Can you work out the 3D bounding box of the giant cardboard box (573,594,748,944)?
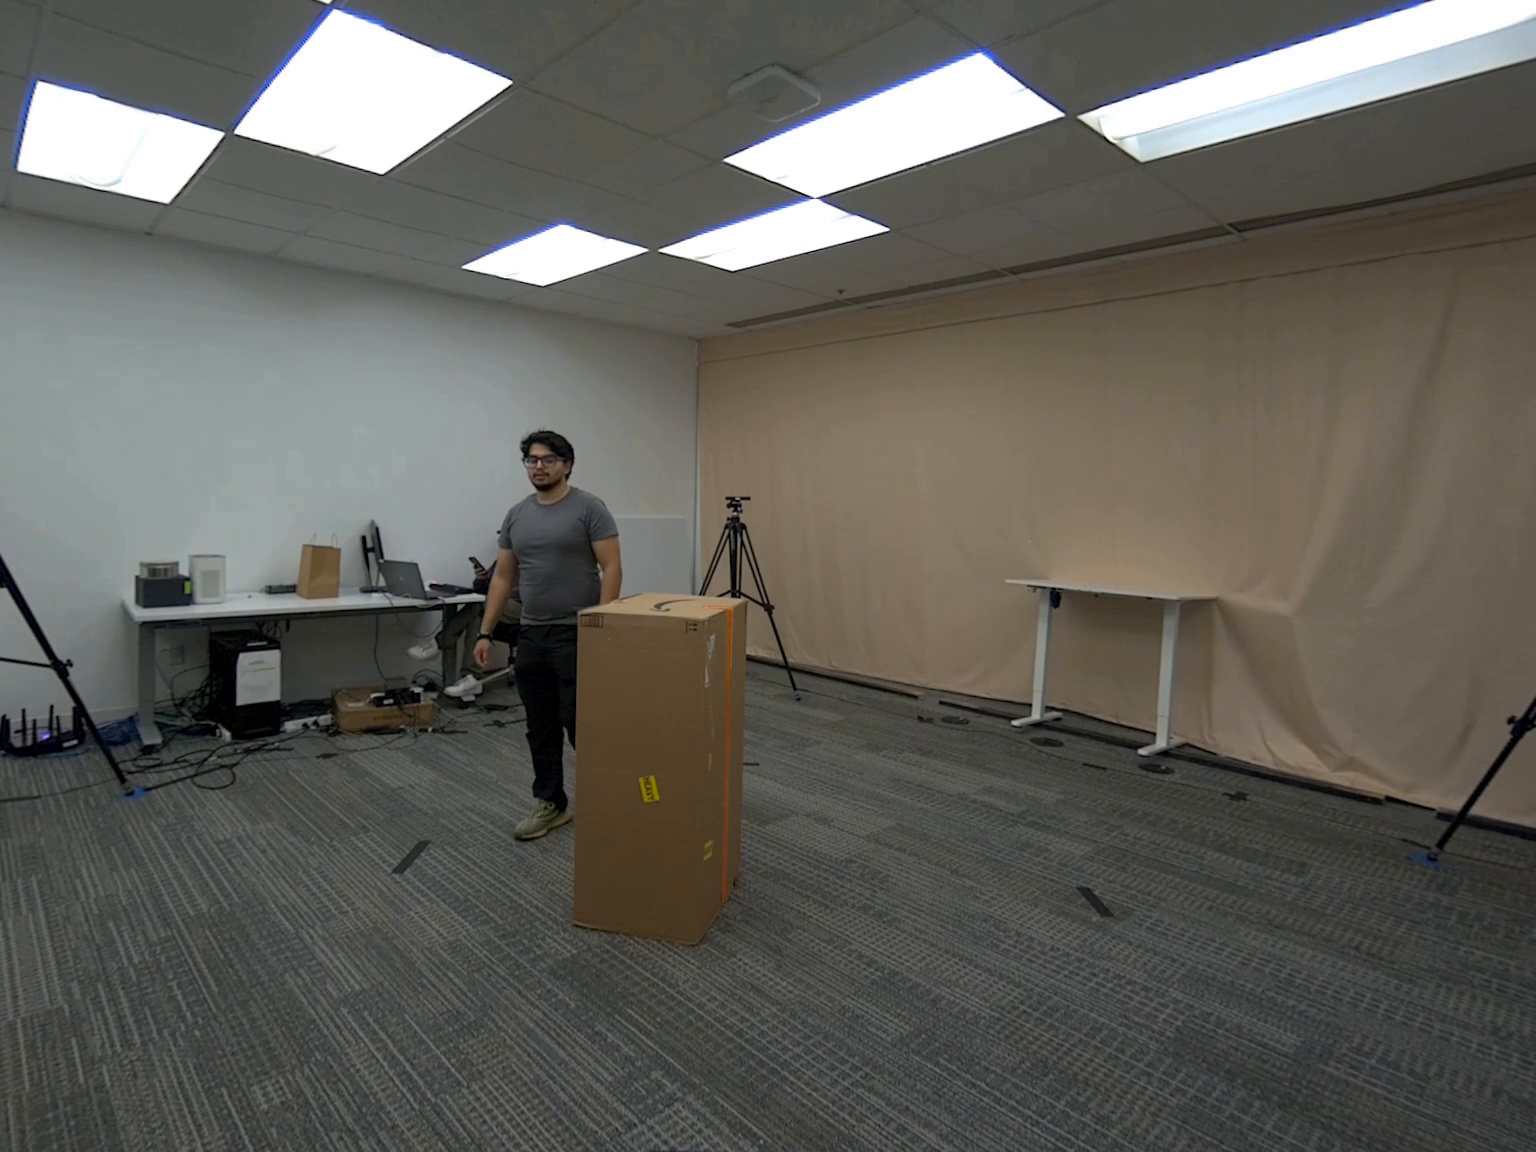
[{"bbox_3d":[-0.350,0.608,2.910,0.431,1.024,0.572,2,3,13],"label":"giant cardboard box"}]
